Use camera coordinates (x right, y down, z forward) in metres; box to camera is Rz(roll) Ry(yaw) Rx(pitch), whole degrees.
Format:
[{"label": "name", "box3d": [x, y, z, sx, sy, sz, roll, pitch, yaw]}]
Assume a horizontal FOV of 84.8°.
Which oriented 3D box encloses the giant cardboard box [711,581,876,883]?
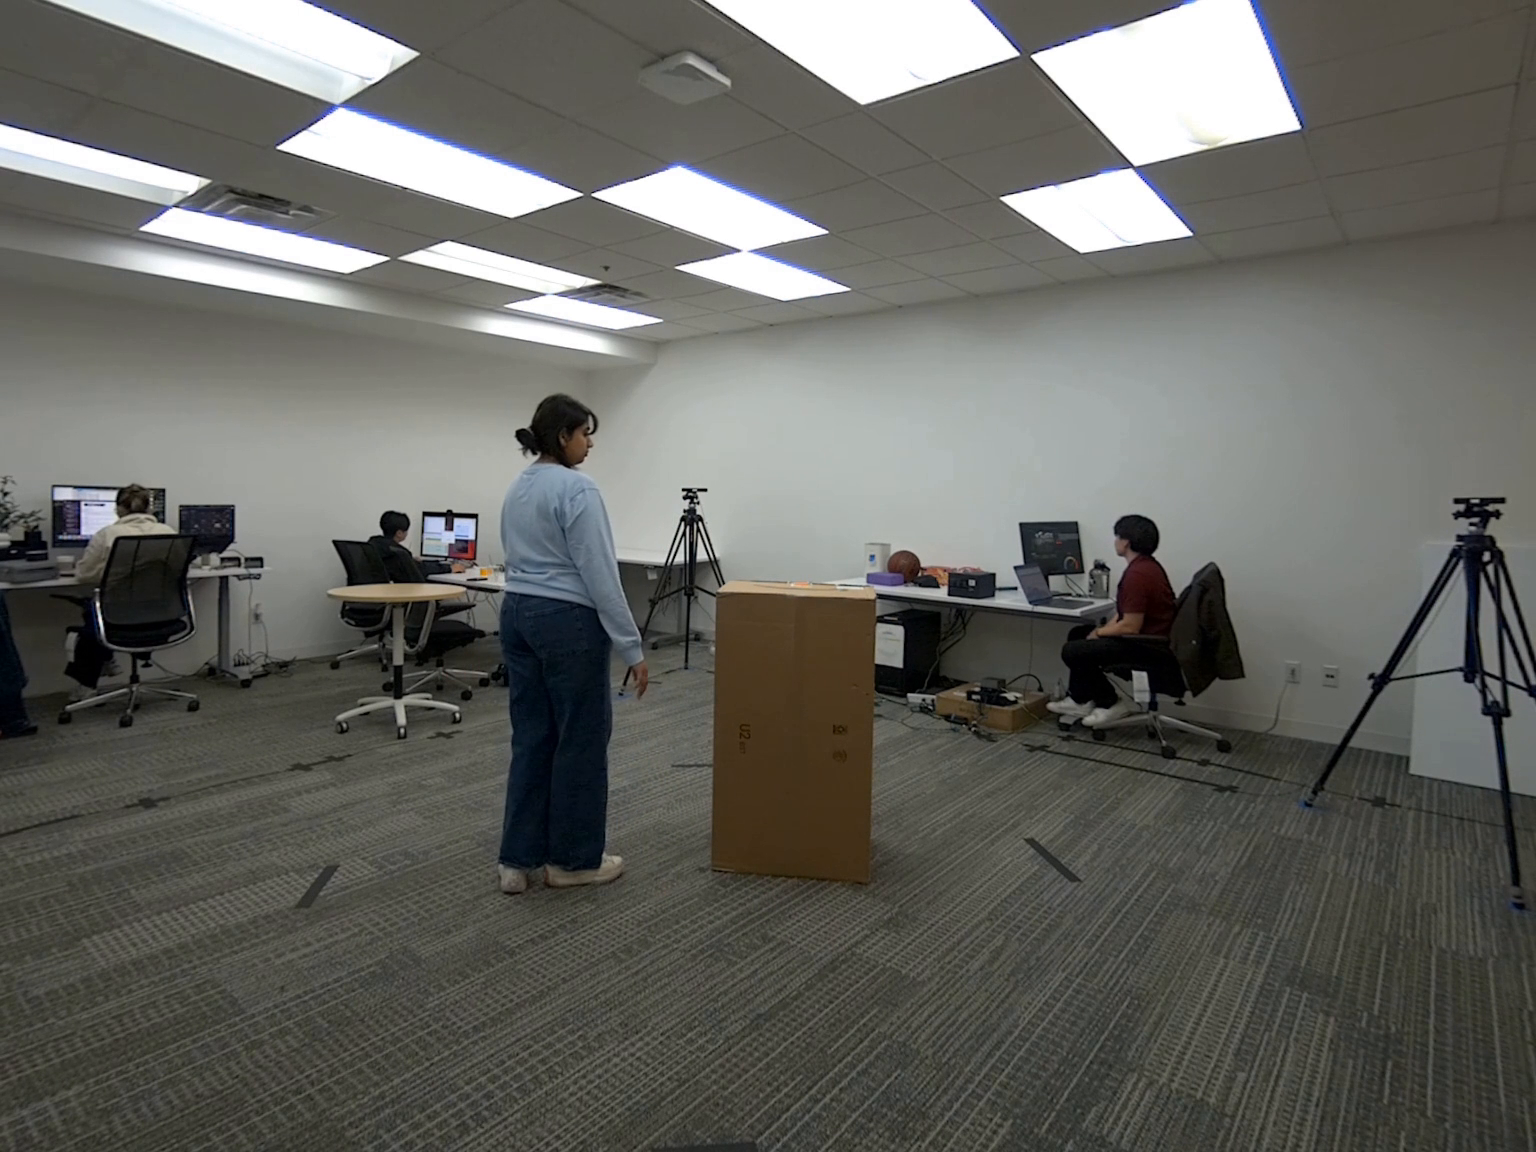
[{"label": "giant cardboard box", "box3d": [0.095, 0.554, 3.241, 0.582, 1.023, 0.424, 2, 3, 7]}]
